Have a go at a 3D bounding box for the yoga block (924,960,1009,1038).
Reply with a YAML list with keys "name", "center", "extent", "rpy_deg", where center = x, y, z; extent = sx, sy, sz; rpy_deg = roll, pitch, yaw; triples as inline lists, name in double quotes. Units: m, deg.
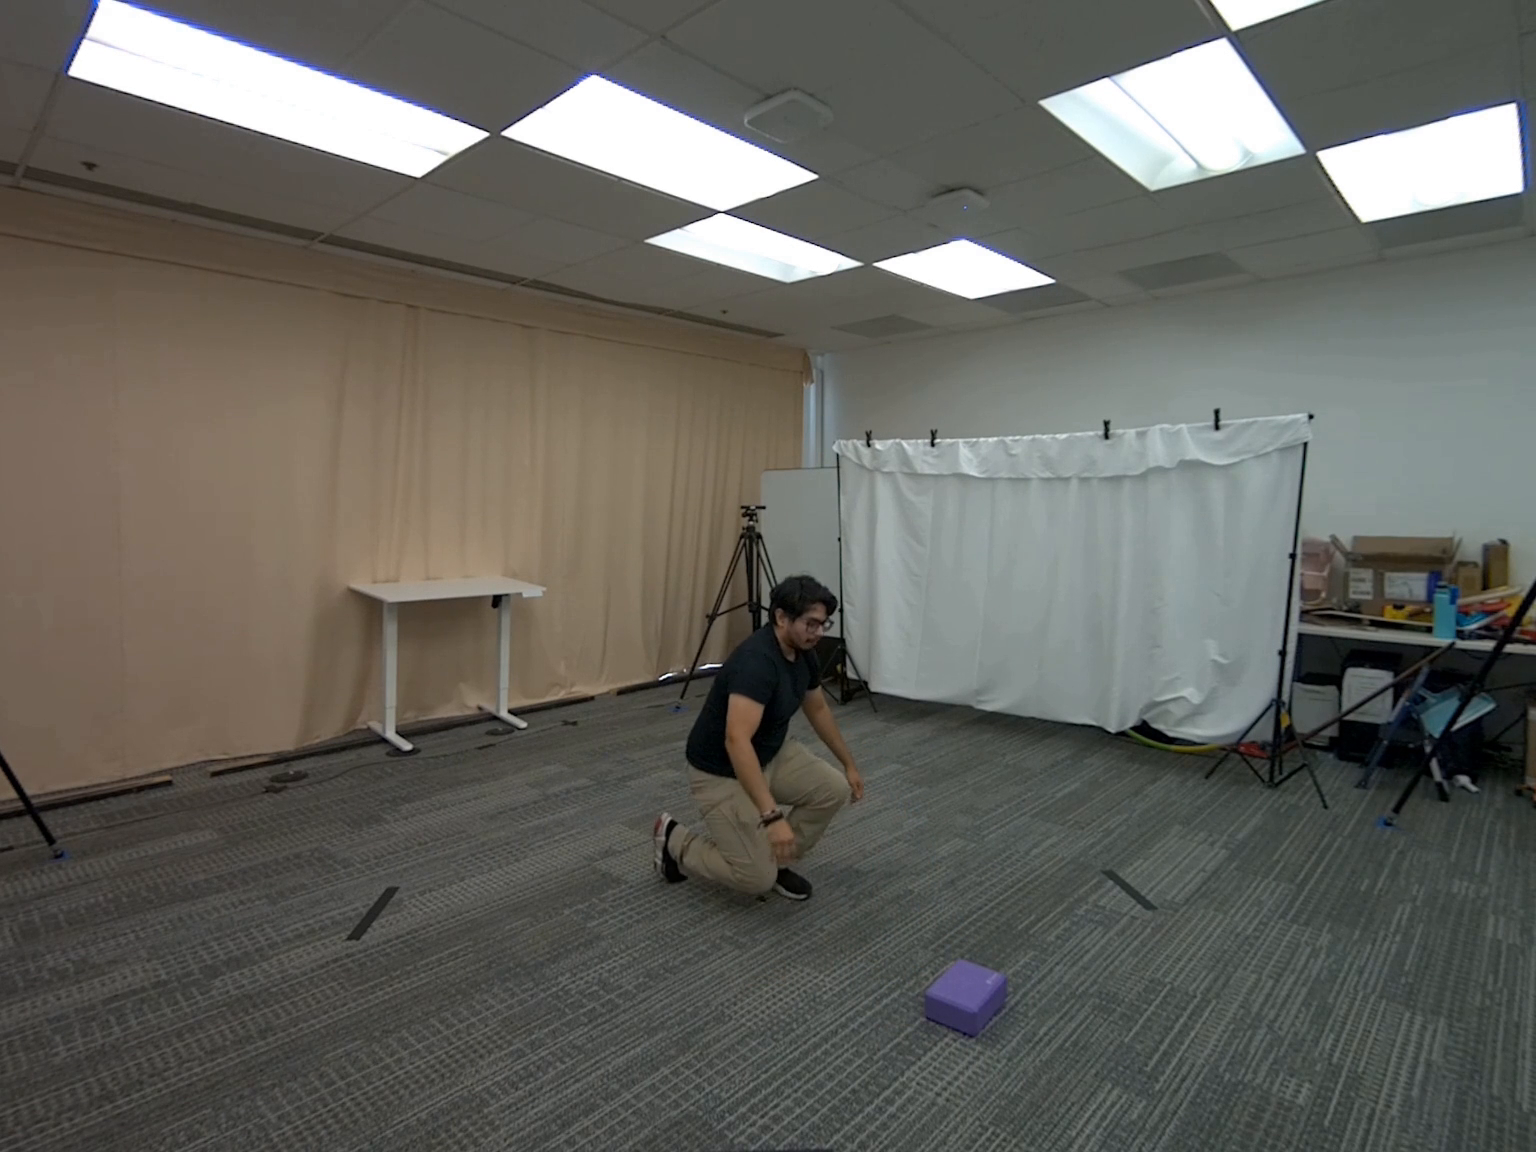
- name: "yoga block"
  center: [0.555, 1.160, 2.321]
  extent: [0.154, 0.076, 0.222]
  rpy_deg: [4, 5, 38]
